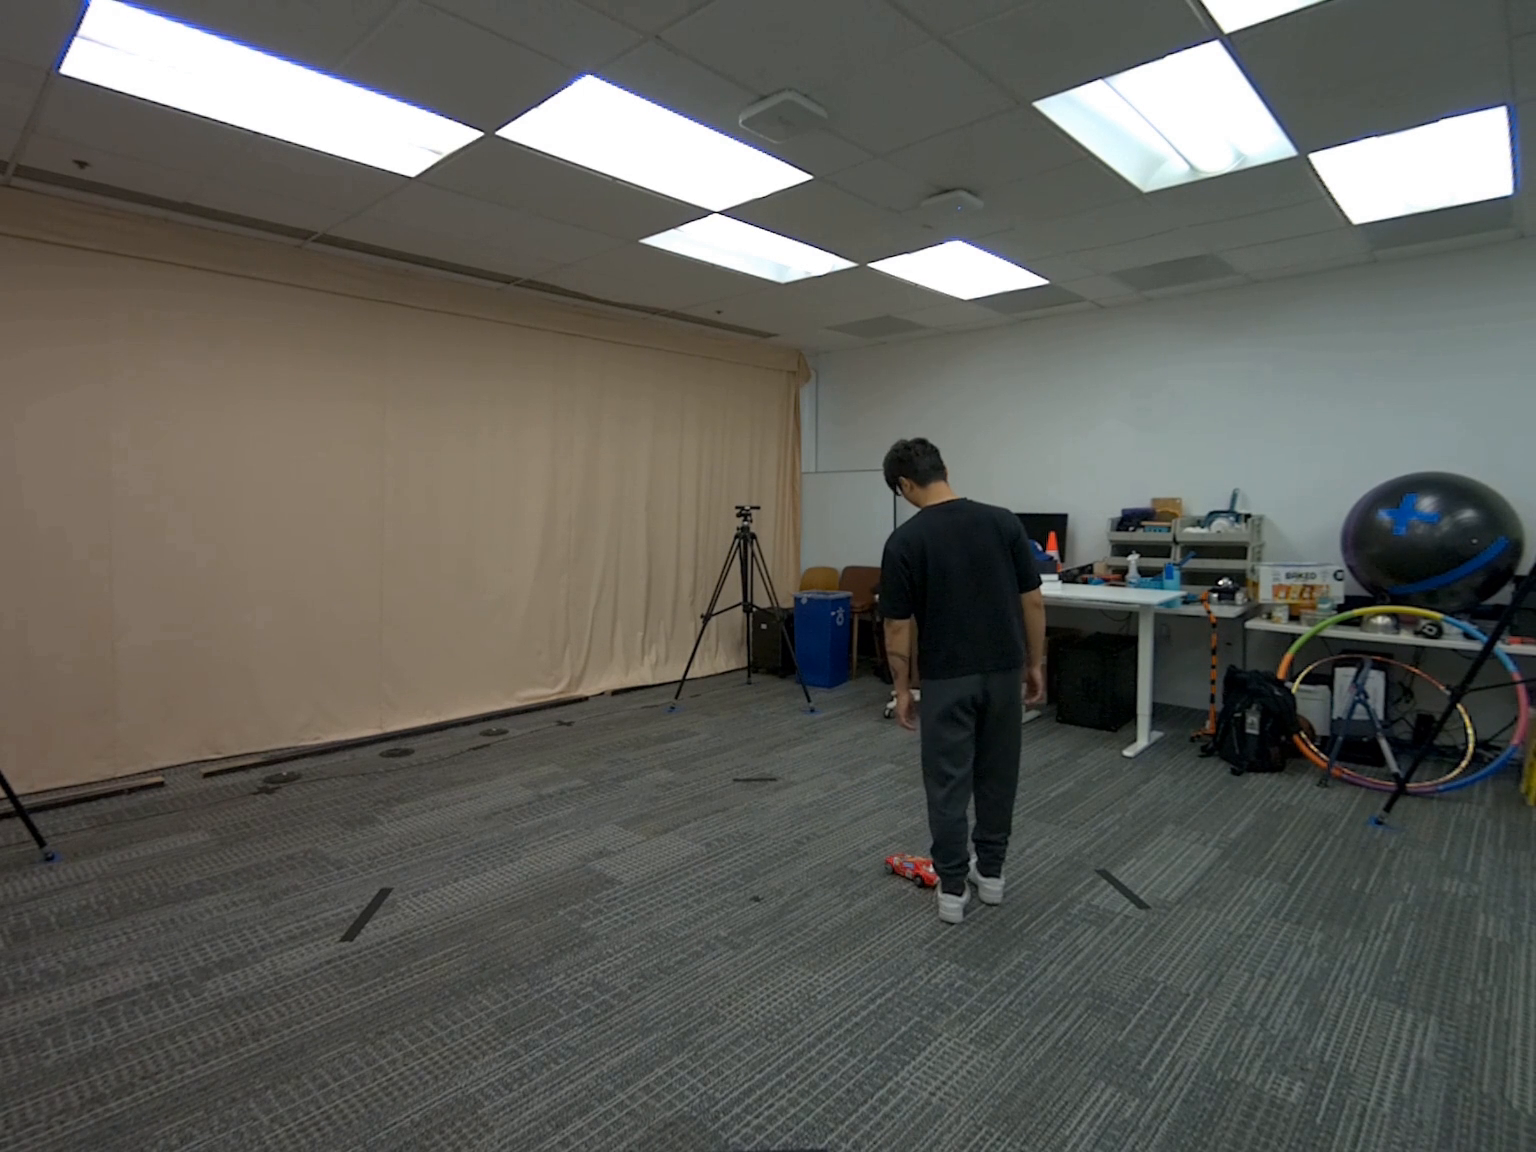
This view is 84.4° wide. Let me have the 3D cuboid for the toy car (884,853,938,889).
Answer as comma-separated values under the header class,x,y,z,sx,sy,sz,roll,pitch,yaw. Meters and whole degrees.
class,x,y,z,sx,sy,sz,roll,pitch,yaw
toy car,0.564,1.098,3.143,0.126,0.083,0.261,-3,-5,-38
